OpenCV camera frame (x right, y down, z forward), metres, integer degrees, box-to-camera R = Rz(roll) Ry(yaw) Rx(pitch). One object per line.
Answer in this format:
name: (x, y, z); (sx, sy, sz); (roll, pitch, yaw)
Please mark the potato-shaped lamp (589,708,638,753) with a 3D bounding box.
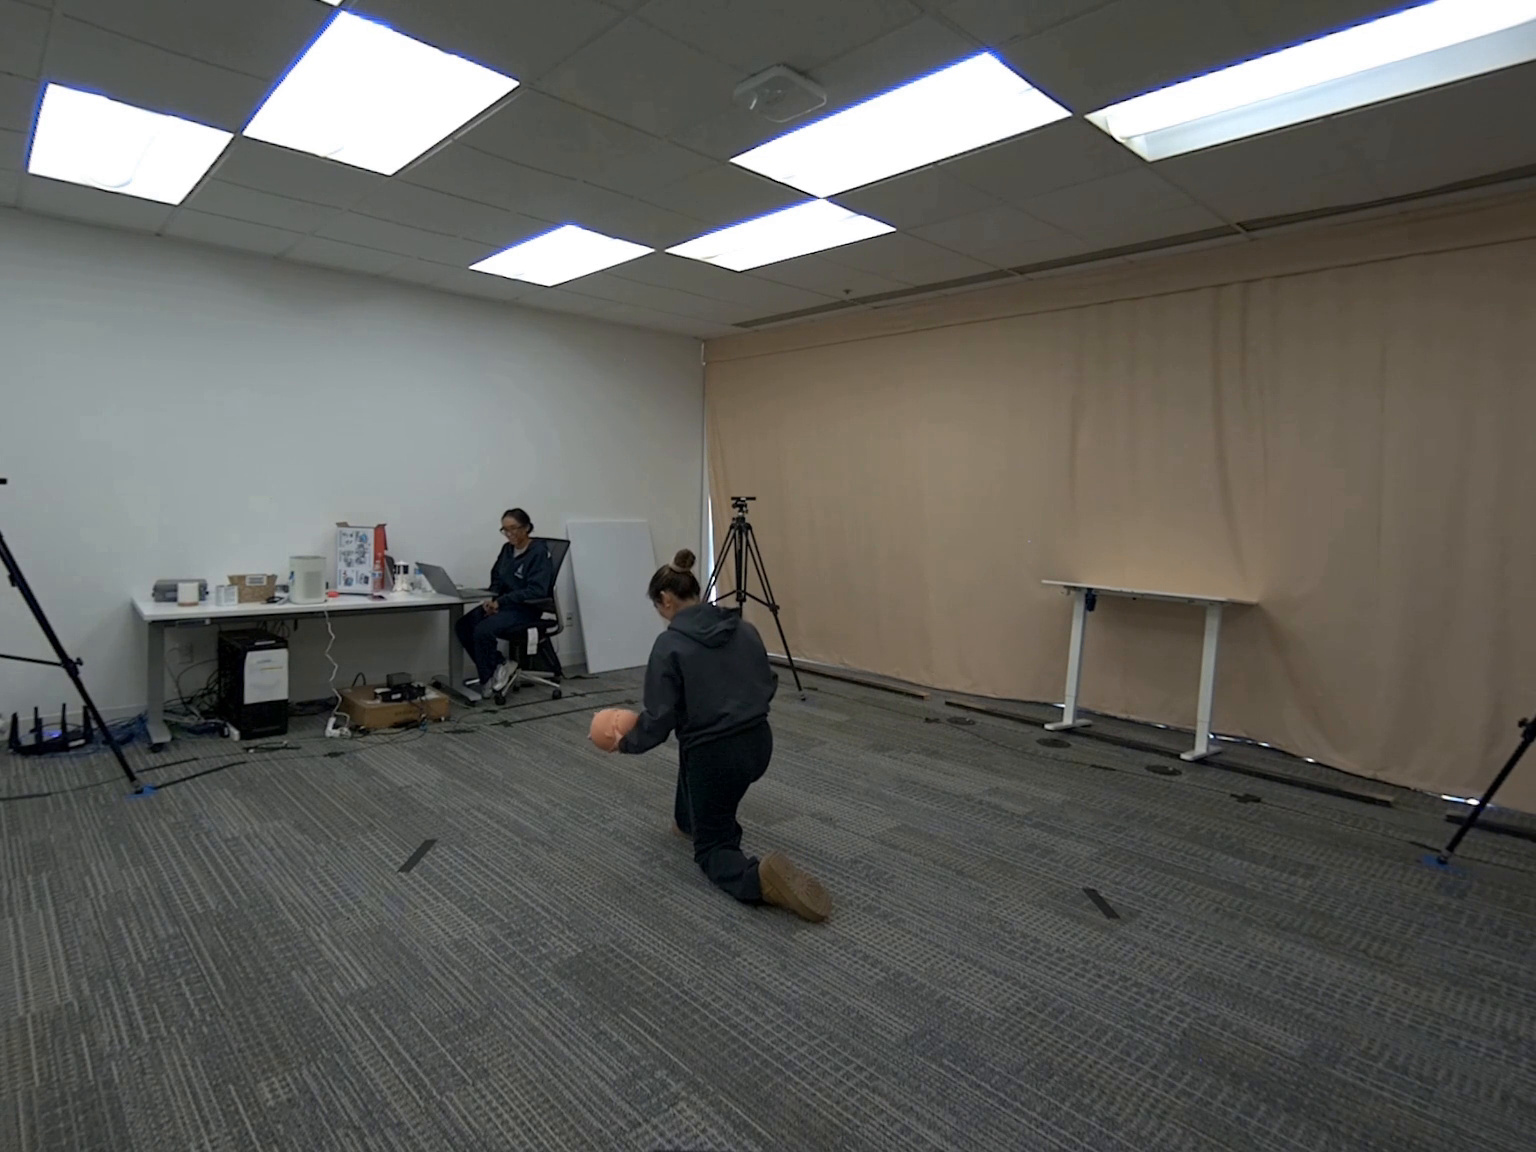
potato-shaped lamp: (-0.585, 0.600, 3.308); (0.200, 0.167, 0.166); (-20, -47, 31)
